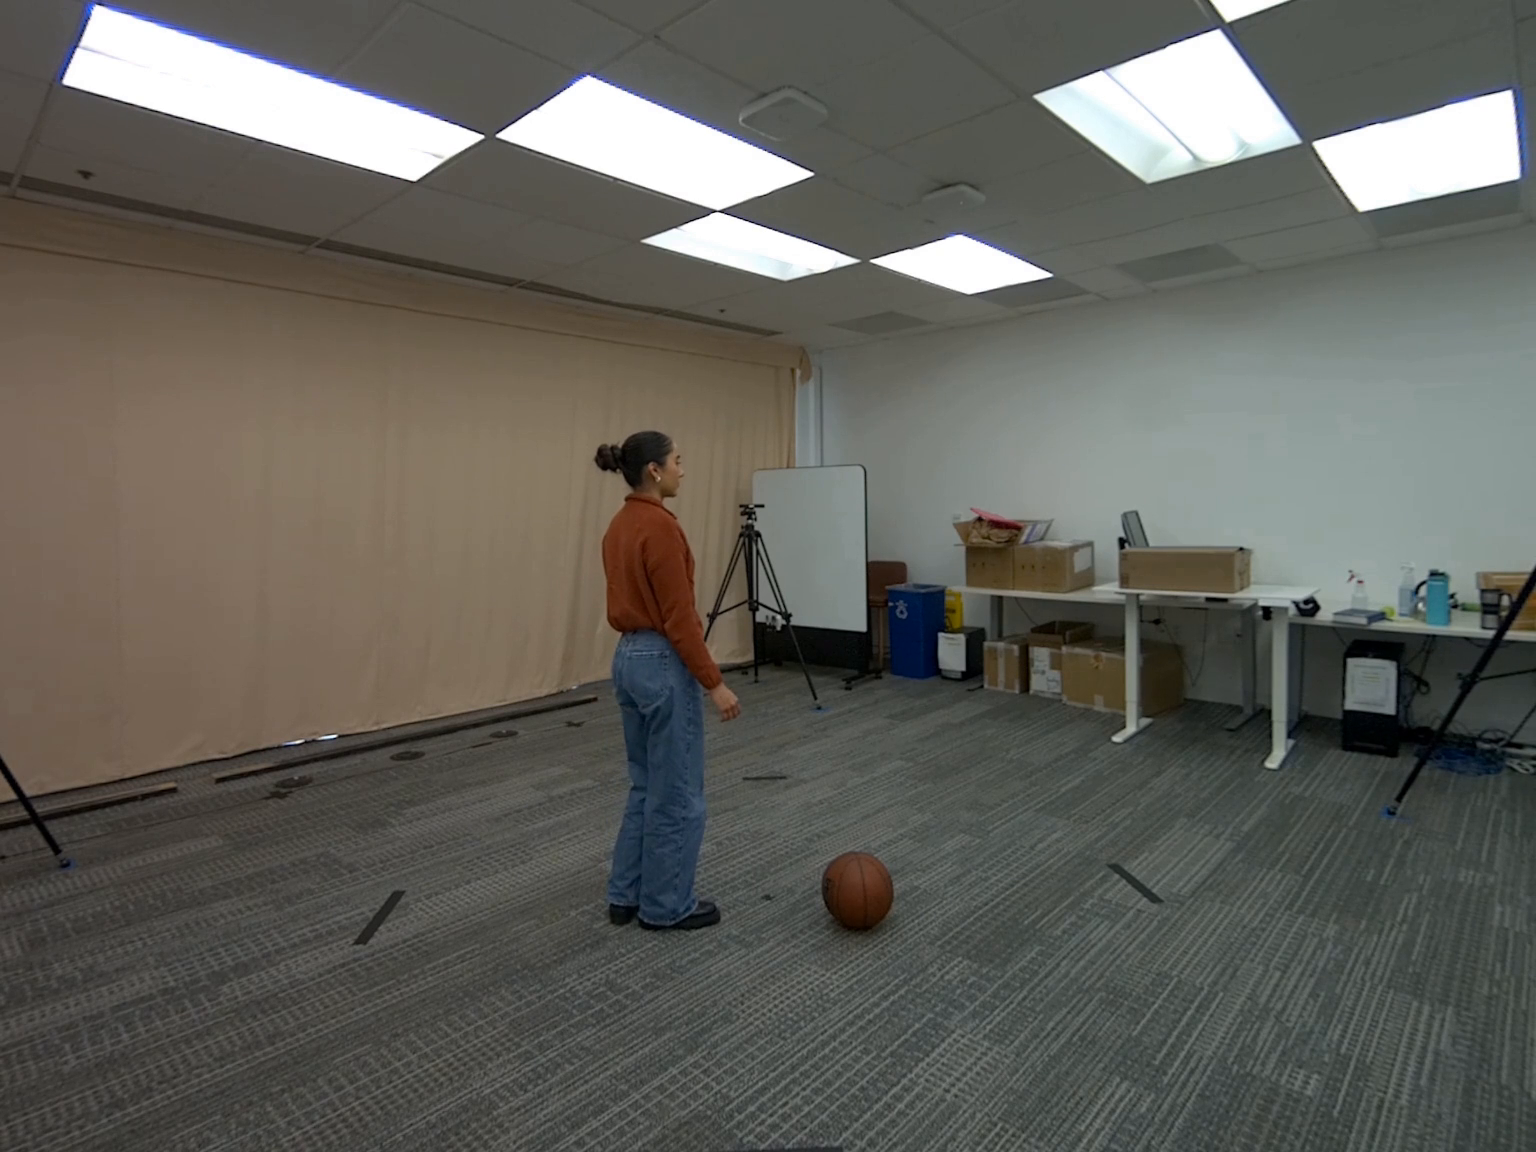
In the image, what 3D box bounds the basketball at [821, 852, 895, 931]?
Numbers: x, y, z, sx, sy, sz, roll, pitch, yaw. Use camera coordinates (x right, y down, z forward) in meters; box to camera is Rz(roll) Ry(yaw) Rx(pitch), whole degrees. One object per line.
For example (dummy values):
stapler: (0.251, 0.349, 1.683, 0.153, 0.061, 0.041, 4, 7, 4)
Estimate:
basketball: (0.299, 1.031, 2.773, 0.236, 0.235, 0.237, -1, 4, -2)
